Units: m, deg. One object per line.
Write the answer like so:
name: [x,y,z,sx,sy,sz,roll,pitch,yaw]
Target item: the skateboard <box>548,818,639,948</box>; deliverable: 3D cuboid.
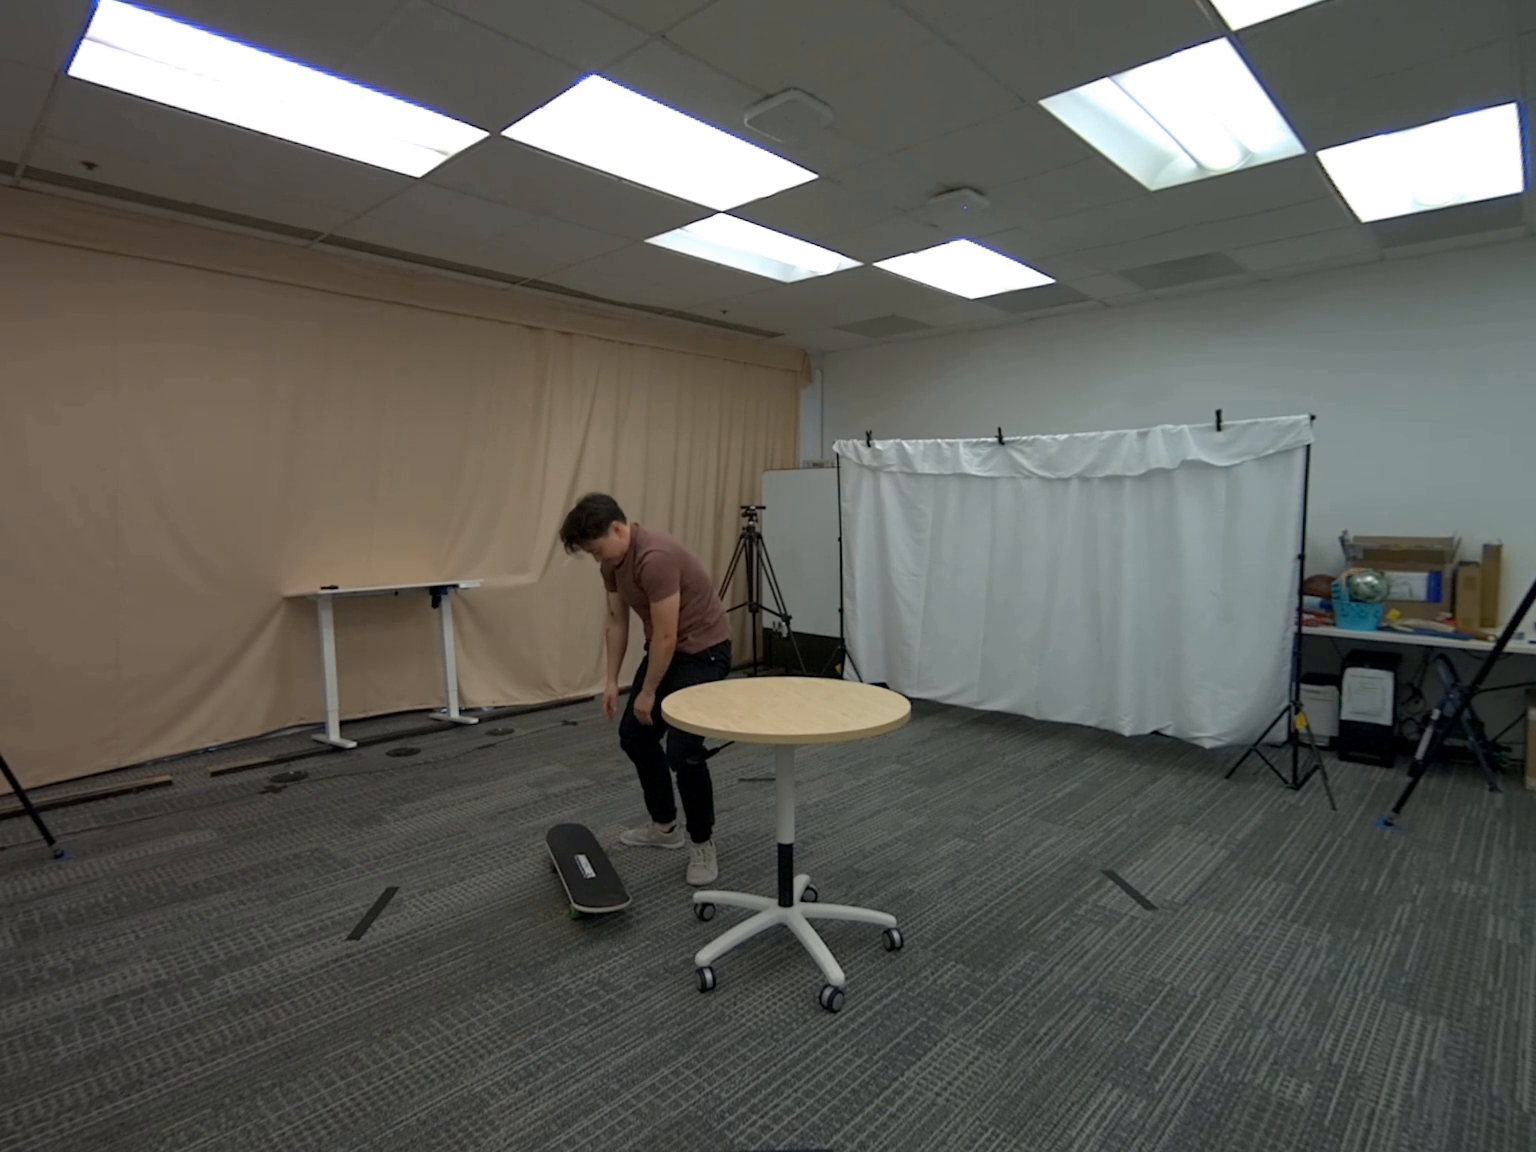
skateboard: [-0.652,1.080,3.066,0.189,0.110,0.803,-1,5,-21]
